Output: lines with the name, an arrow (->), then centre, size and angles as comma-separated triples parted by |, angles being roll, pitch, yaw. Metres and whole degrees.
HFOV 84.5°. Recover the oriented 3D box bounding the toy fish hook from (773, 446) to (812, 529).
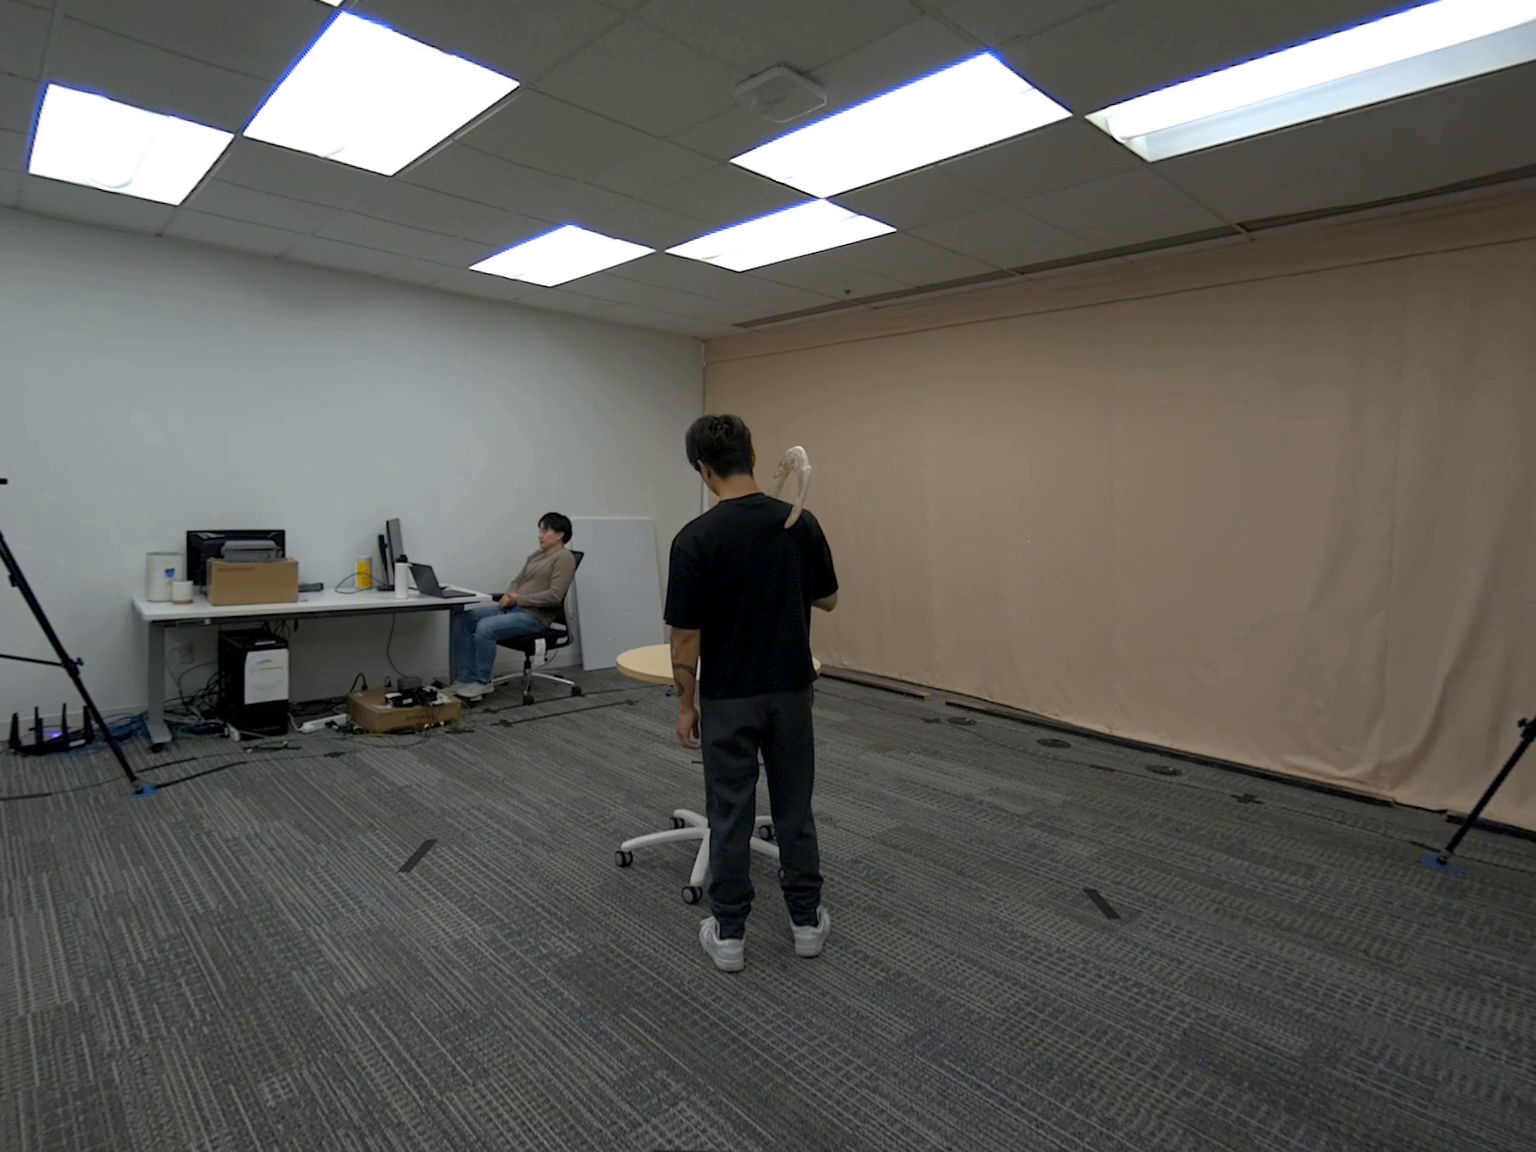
toy fish hook -> 0.011, -0.166, 2.556 | 0.047, 0.501, 0.230 | 10, 42, -19
